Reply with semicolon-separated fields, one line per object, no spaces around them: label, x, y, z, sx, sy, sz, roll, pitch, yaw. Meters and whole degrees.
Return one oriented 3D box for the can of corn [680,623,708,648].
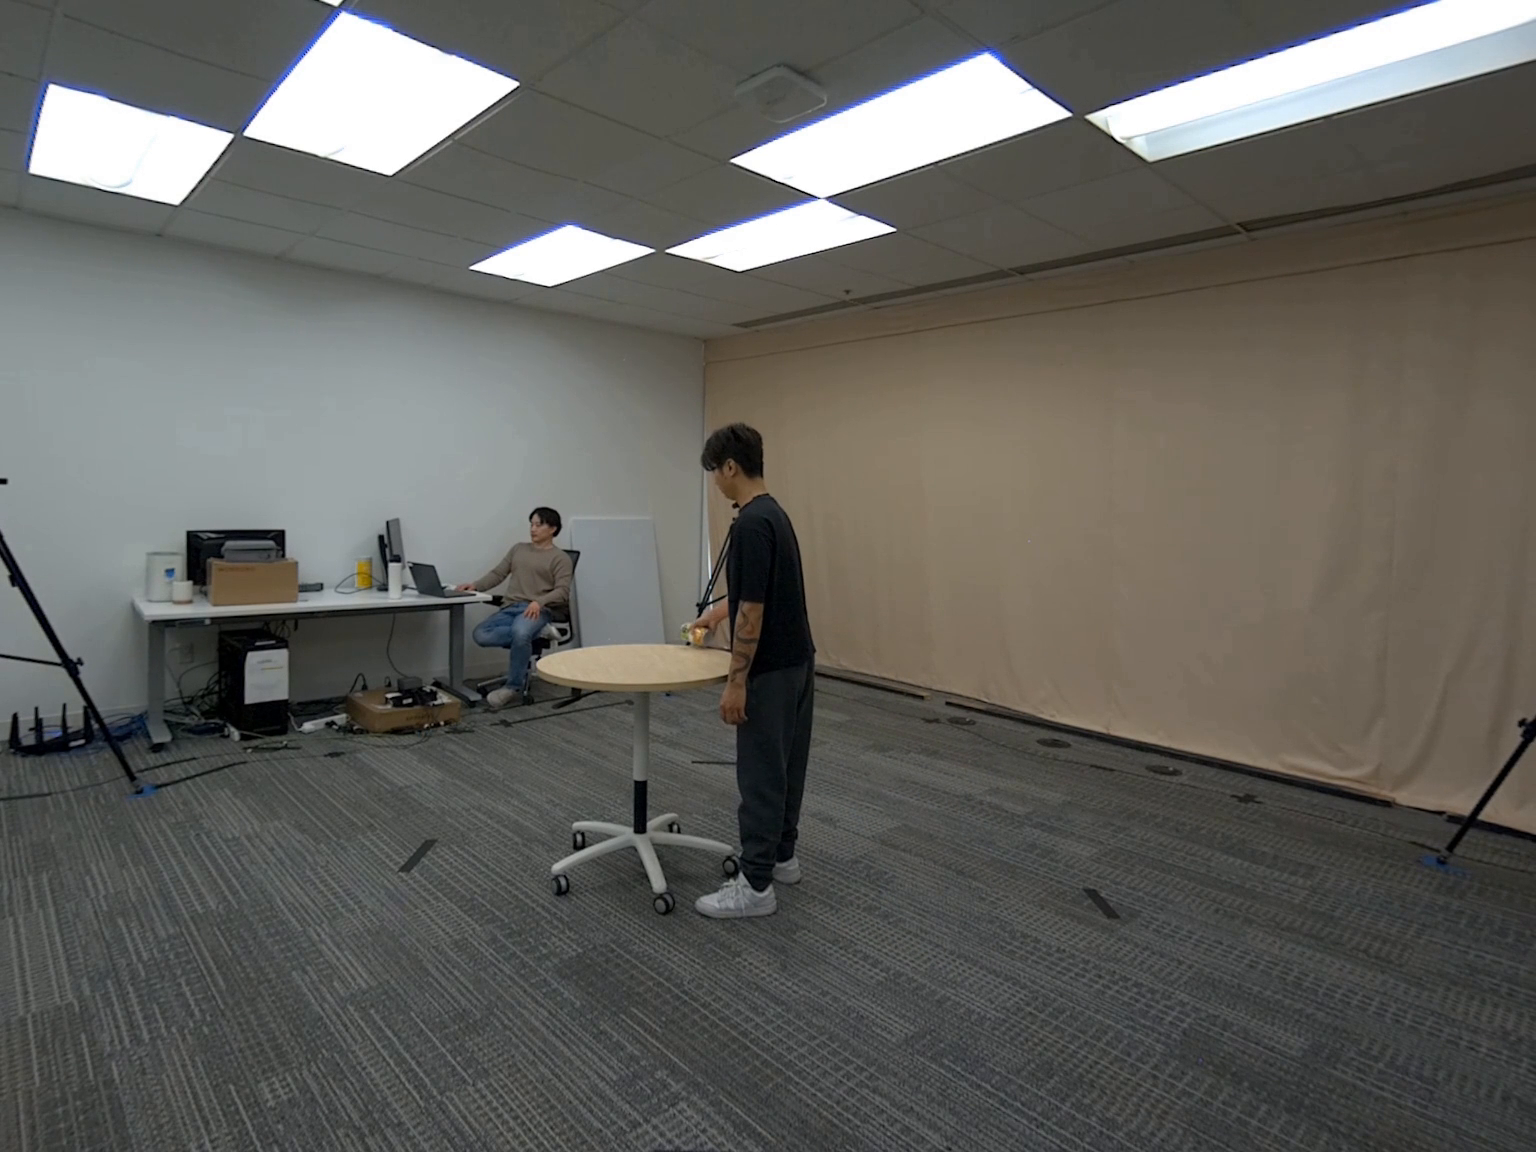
can of corn;-0.300;0.235;3.394;0.113;0.074;0.073;15;10;26
